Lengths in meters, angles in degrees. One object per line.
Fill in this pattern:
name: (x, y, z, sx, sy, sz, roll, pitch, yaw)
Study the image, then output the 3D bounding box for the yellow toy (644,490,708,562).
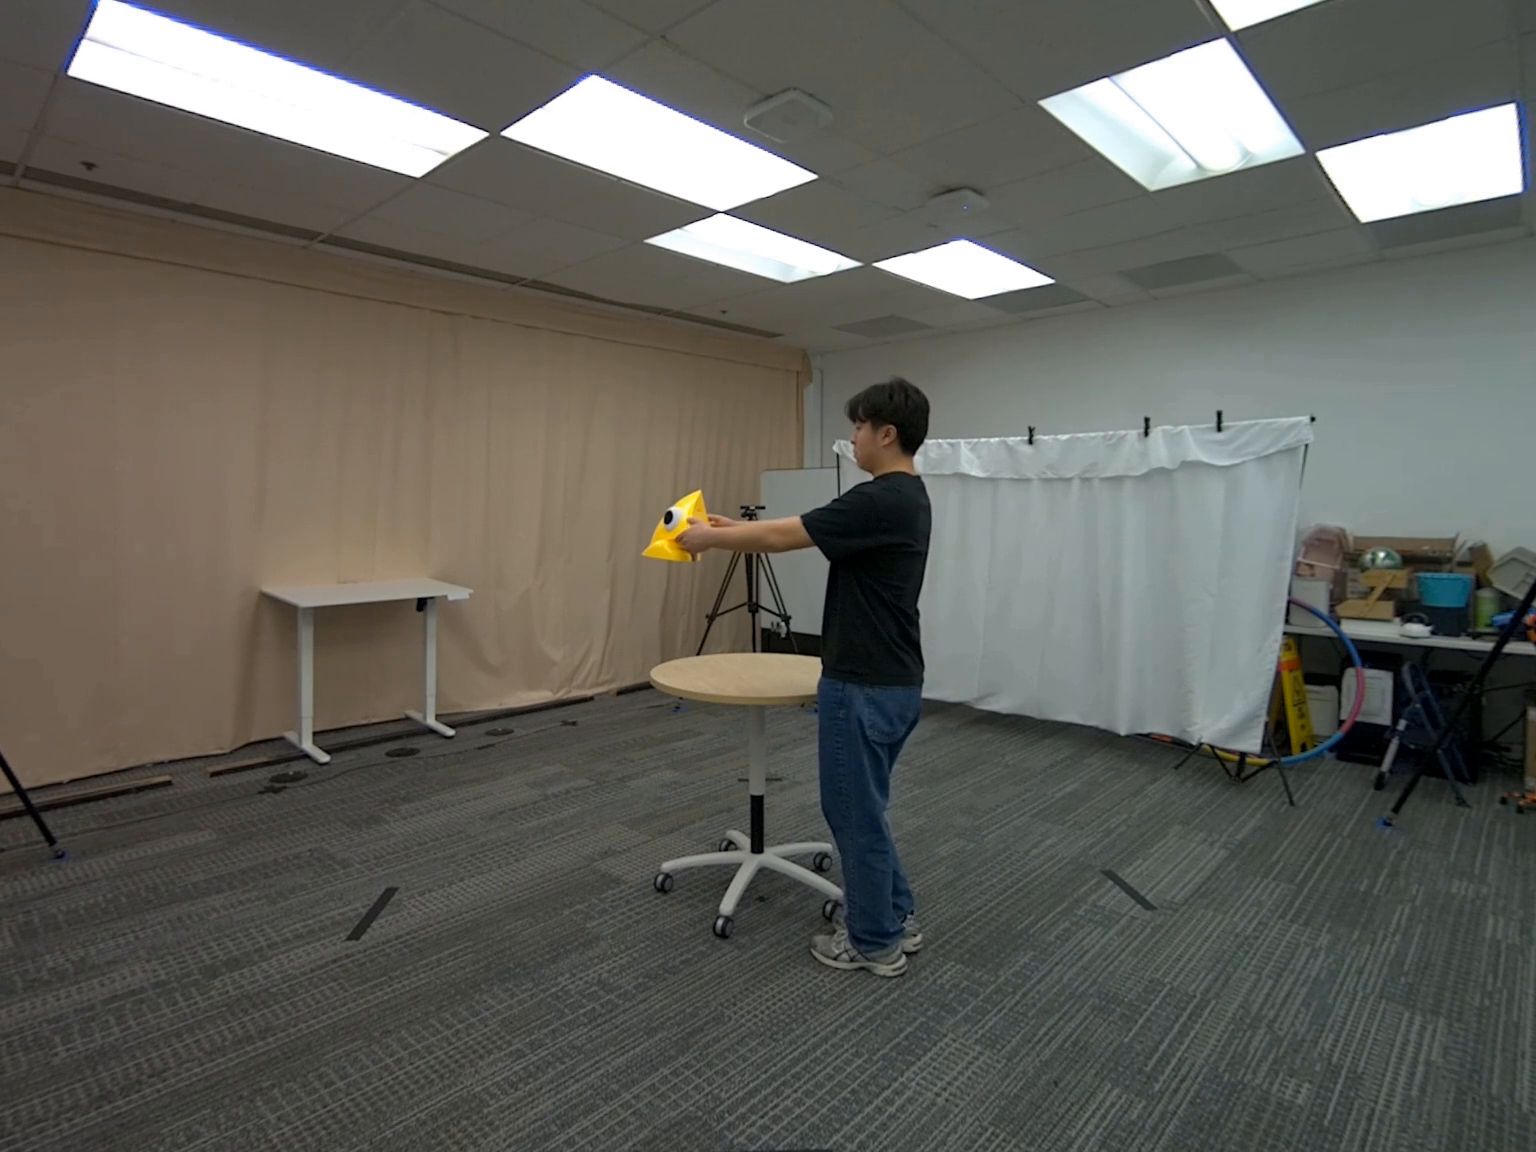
yellow toy: (-0.278, -0.171, 2.739, 0.197, 0.230, 0.201, 8, 4, 19)
